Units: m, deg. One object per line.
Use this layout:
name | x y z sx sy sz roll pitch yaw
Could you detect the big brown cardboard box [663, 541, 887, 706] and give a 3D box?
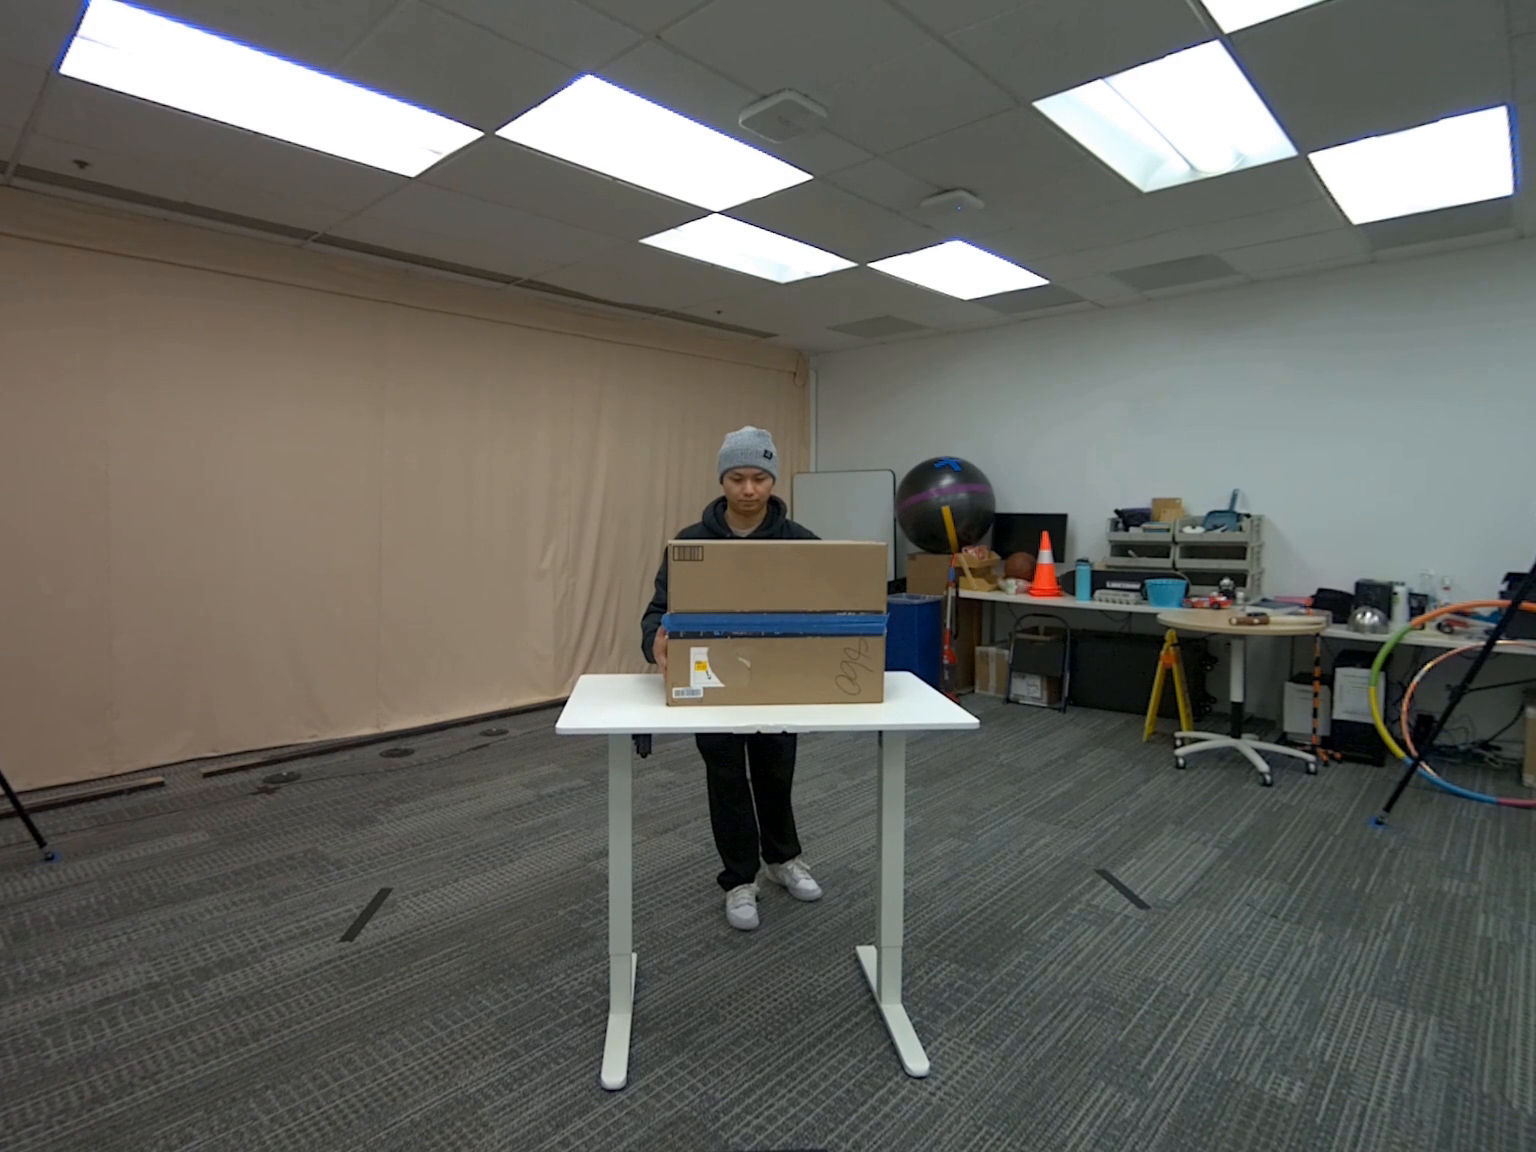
big brown cardboard box | 0.011 0.115 2.258 0.586 0.417 0.235 0 3 -5
